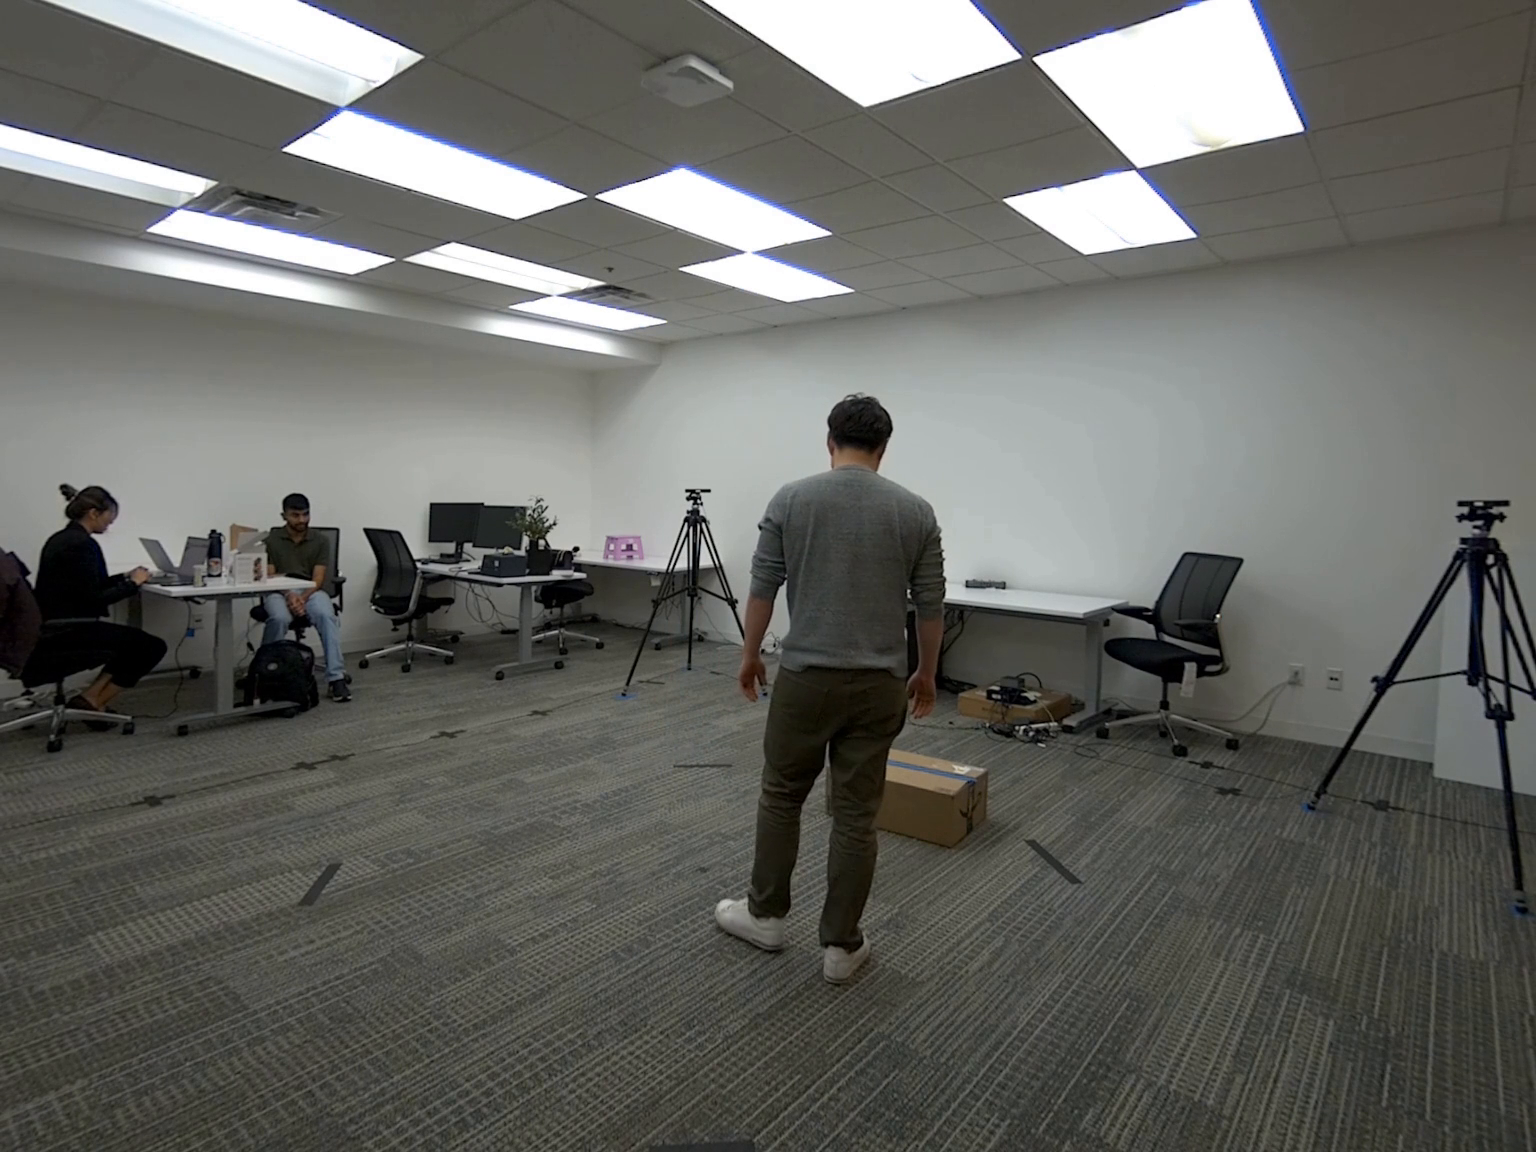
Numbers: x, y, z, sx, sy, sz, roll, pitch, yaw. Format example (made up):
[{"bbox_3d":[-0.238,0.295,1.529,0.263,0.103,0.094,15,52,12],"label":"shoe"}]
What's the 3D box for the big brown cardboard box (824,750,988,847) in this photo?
[{"bbox_3d":[0.598,0.926,3.672,0.607,0.232,0.406,4,6,33],"label":"big brown cardboard box"}]
